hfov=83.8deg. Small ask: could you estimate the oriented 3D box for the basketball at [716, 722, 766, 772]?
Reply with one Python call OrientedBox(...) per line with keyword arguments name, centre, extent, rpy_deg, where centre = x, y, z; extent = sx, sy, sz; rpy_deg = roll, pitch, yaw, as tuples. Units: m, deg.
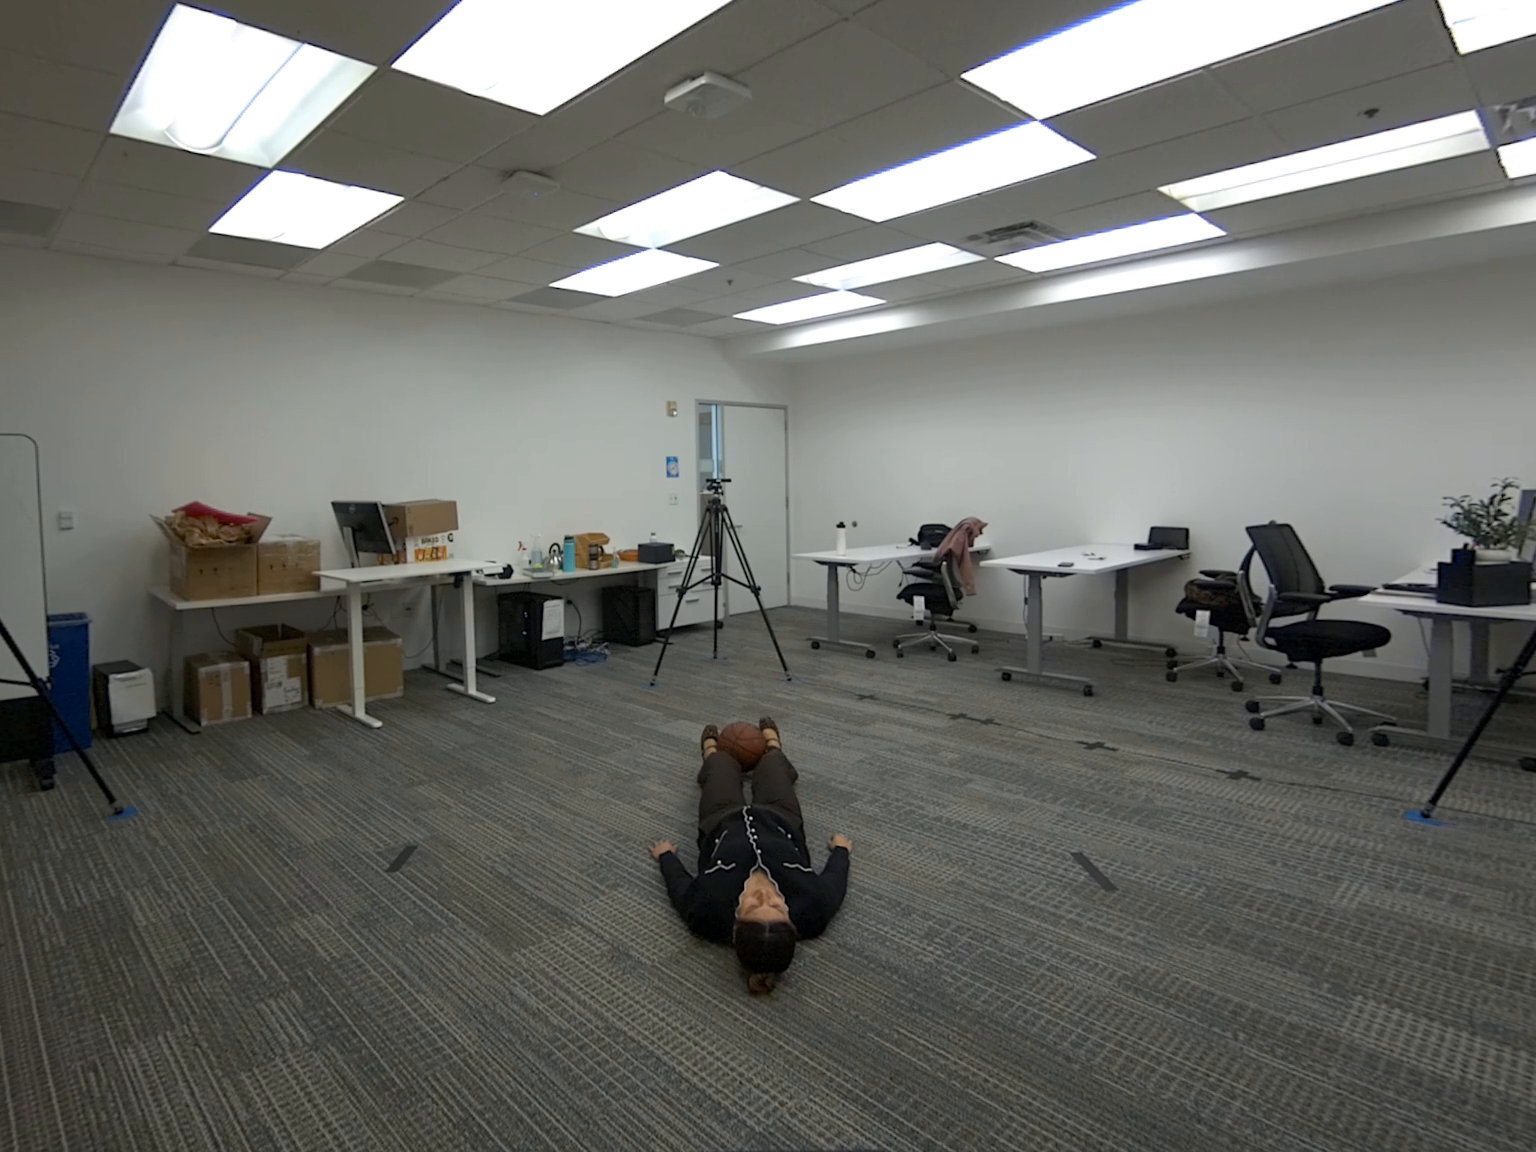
OrientedBox(name="basketball", centre=(-0.122, 0.793, 4.018), extent=(0.236, 0.235, 0.237), rpy_deg=(-4, 4, -1))
